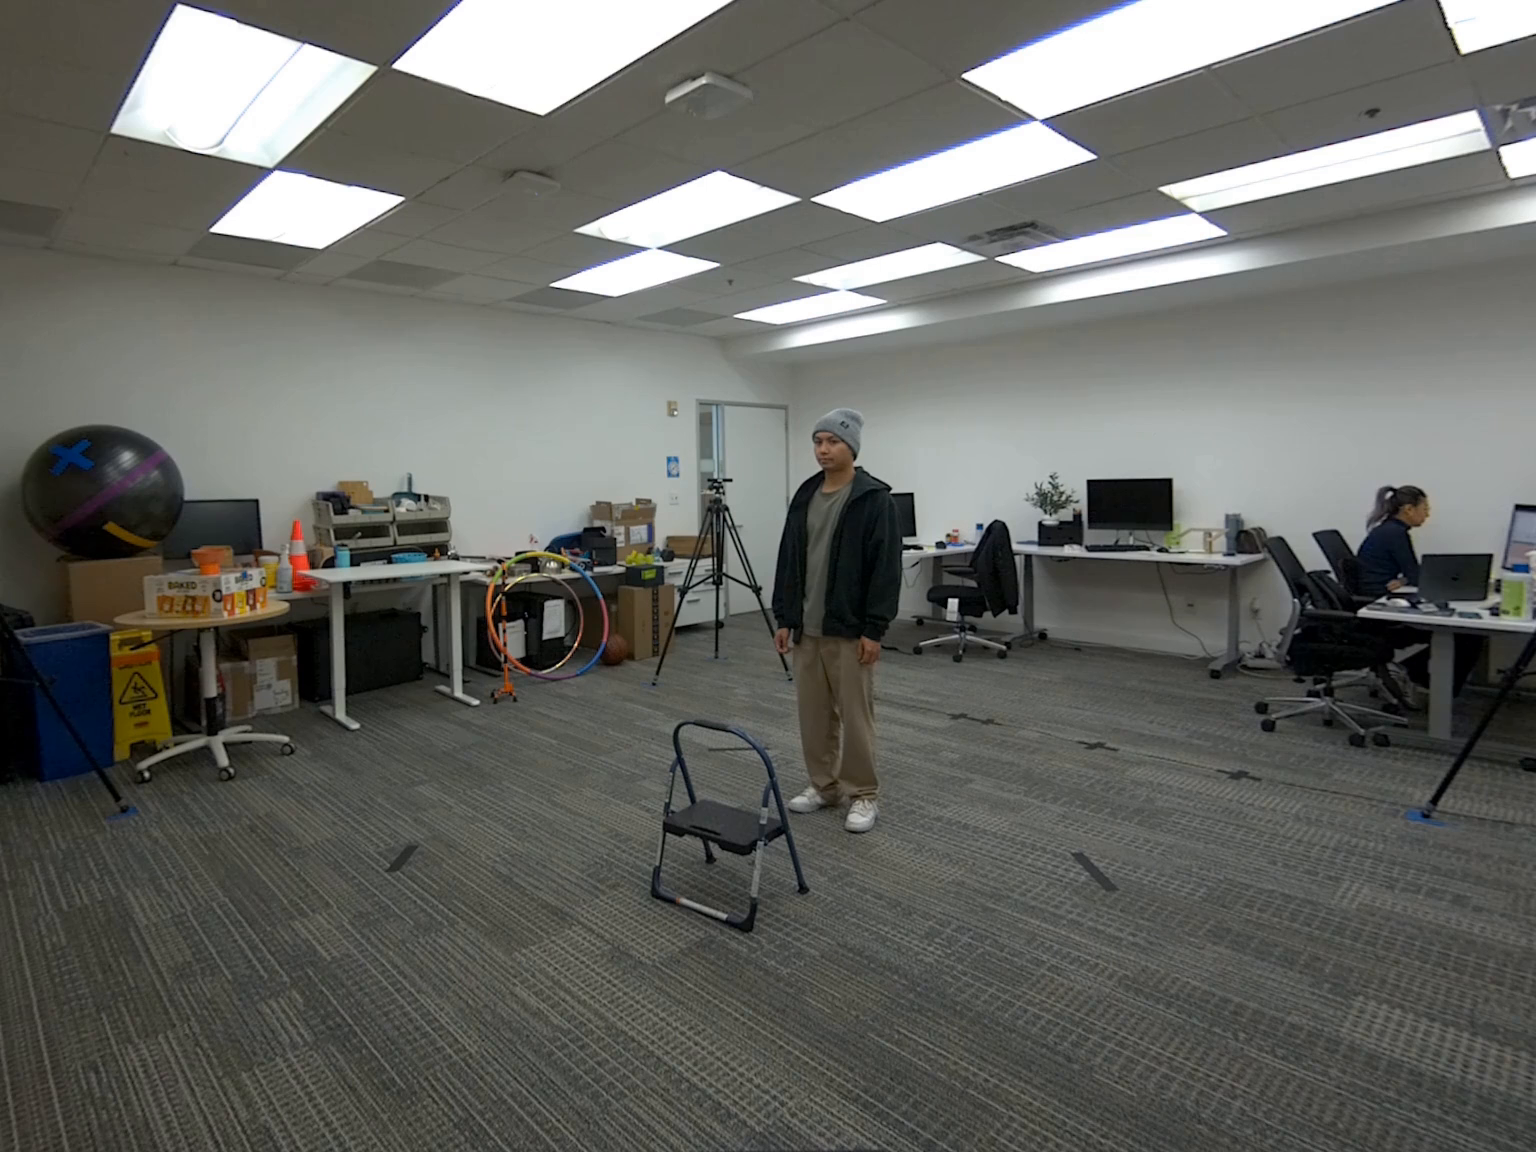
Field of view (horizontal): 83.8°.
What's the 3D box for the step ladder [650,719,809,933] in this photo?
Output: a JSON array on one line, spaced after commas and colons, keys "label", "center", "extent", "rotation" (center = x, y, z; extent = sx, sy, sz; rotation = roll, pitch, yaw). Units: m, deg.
[{"label": "step ladder", "center": [-0.135, 0.769, 2.867], "extent": [0.443, 0.604, 0.341], "rotation": [2, 5, 35]}]
